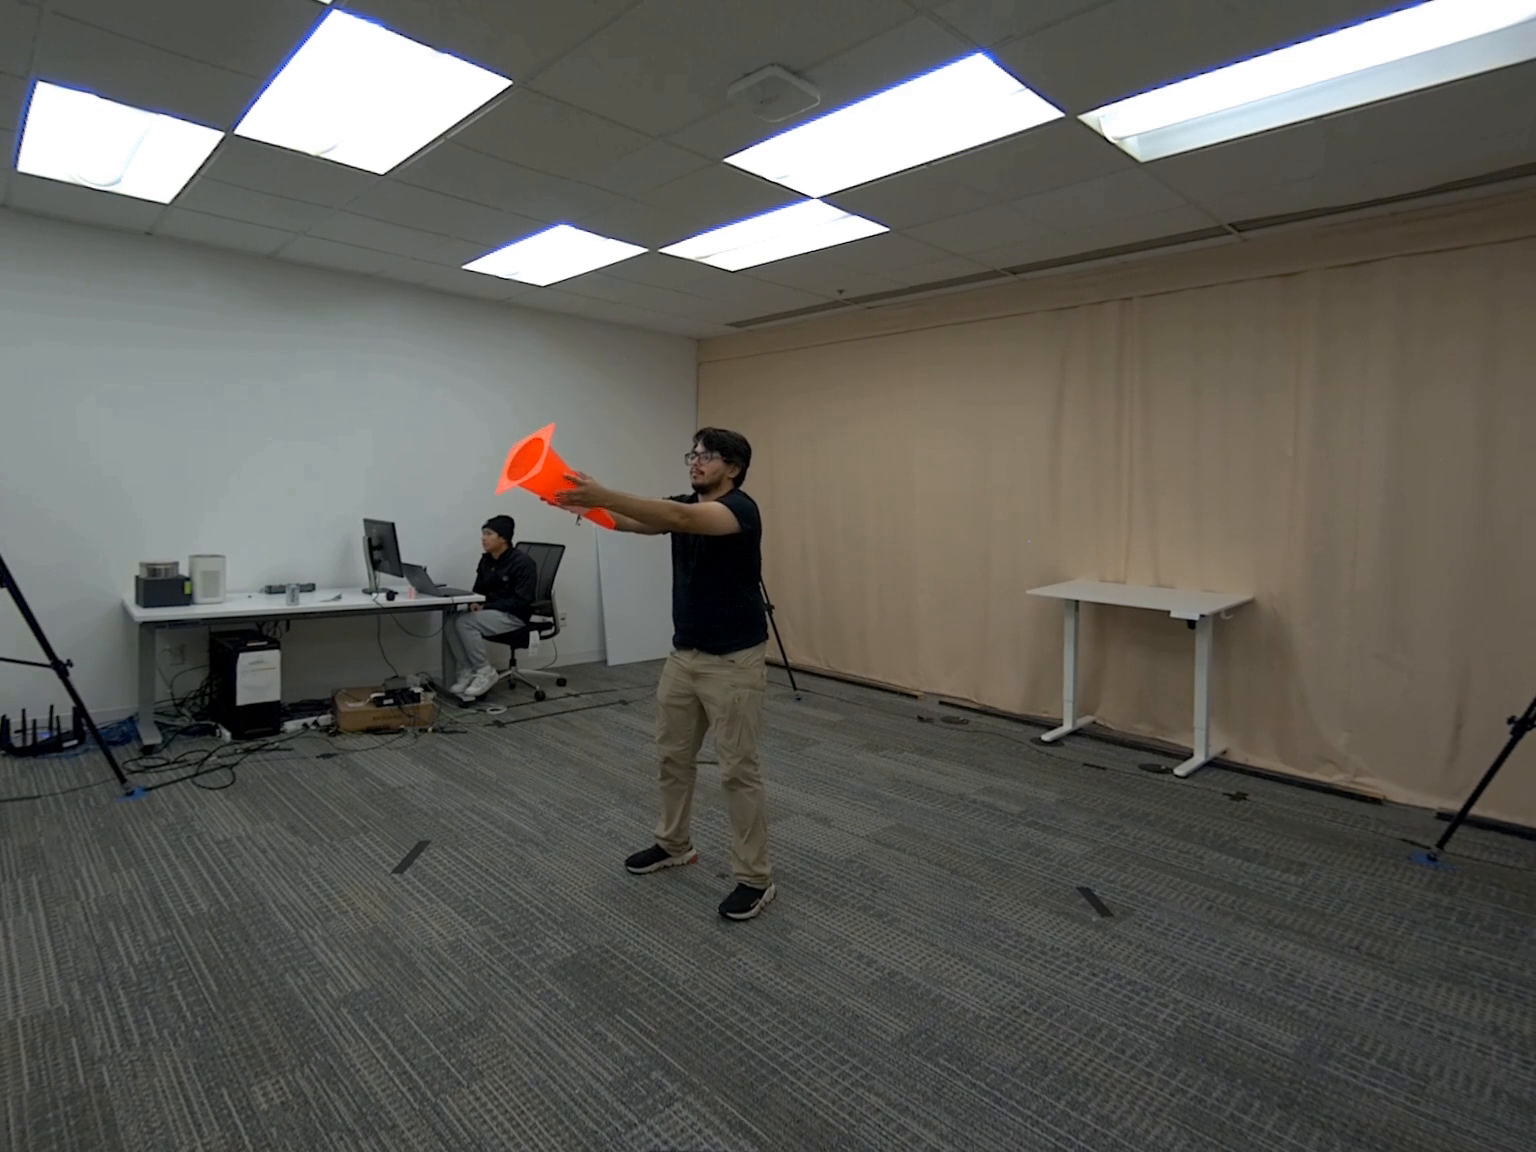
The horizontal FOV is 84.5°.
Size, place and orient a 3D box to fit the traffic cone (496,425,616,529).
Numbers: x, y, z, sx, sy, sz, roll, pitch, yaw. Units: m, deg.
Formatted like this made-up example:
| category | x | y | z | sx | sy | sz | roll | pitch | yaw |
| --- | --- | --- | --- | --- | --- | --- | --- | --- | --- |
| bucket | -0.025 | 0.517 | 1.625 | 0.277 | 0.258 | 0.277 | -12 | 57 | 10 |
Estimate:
| category | x | y | z | sx | sy | sz | roll | pitch | yaw |
| --- | --- | --- | --- | --- | --- | --- | --- | --- | --- |
| traffic cone | -0.619 | -0.236 | 2.573 | 0.208 | 0.207 | 0.372 | -20 | -42 | 31 |
